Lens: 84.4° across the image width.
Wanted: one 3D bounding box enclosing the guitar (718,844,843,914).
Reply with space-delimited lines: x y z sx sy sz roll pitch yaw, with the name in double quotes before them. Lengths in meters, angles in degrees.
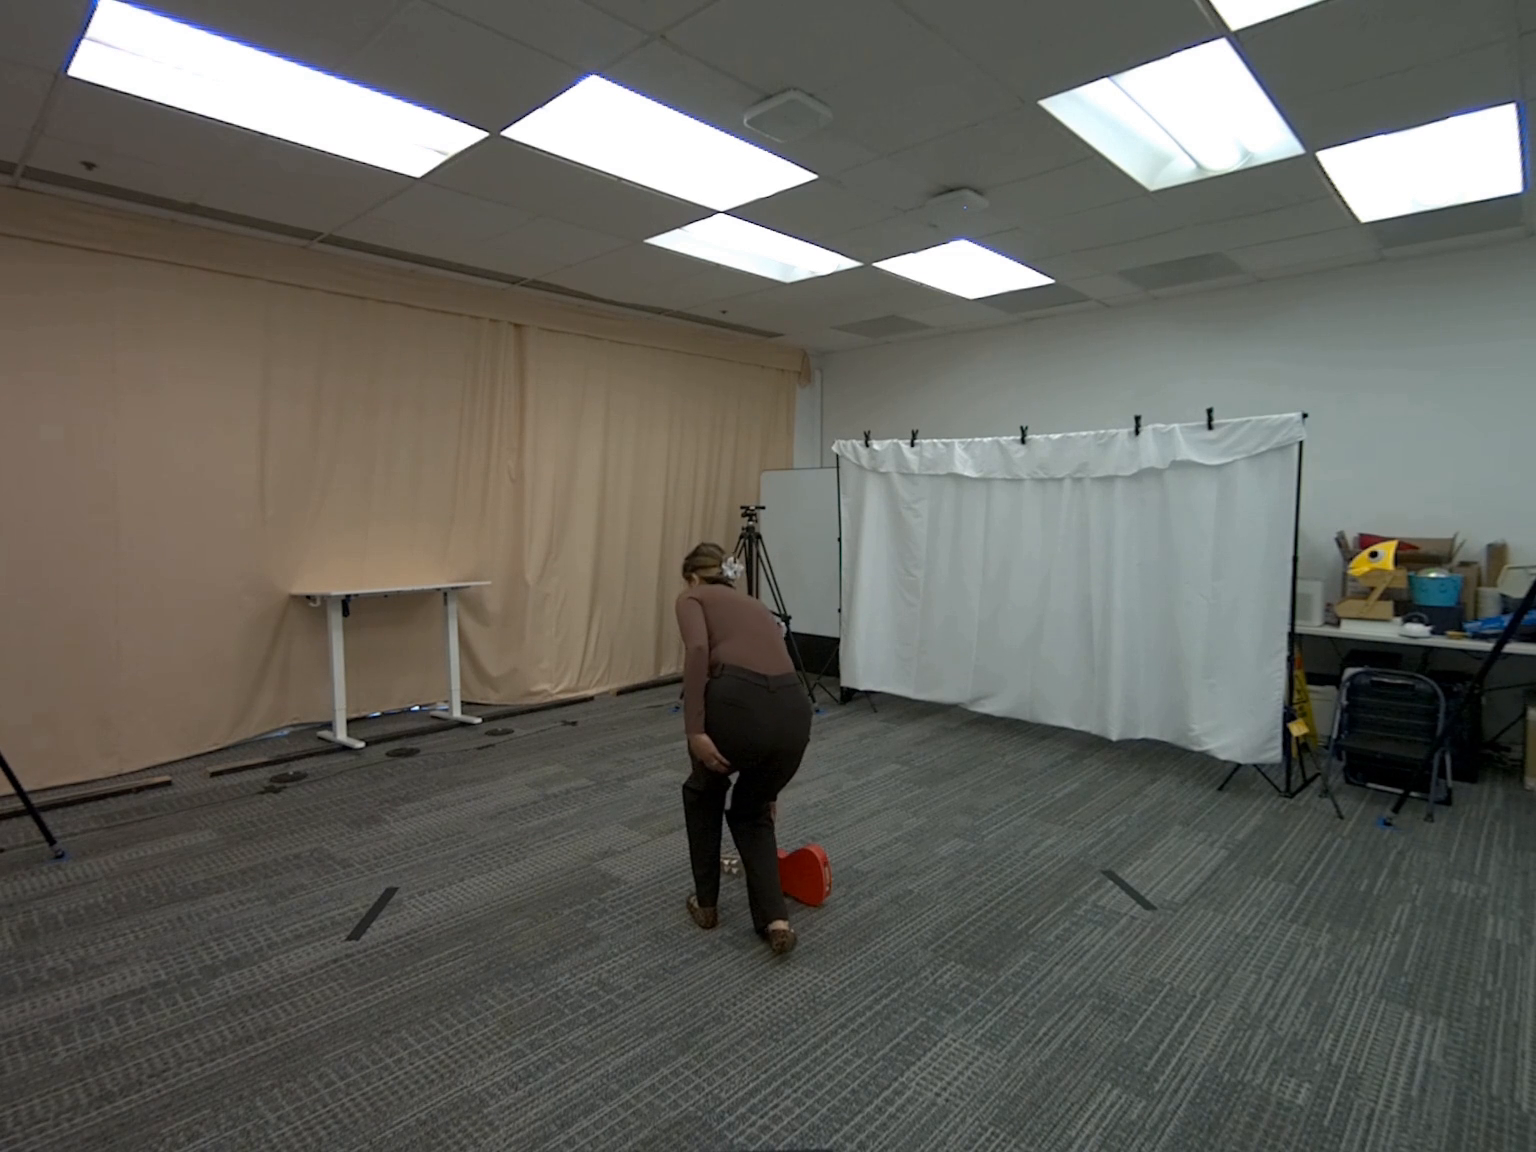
"guitar" 0.015 1.095 3.057 0.509 0.194 0.068 -19 -9 35
